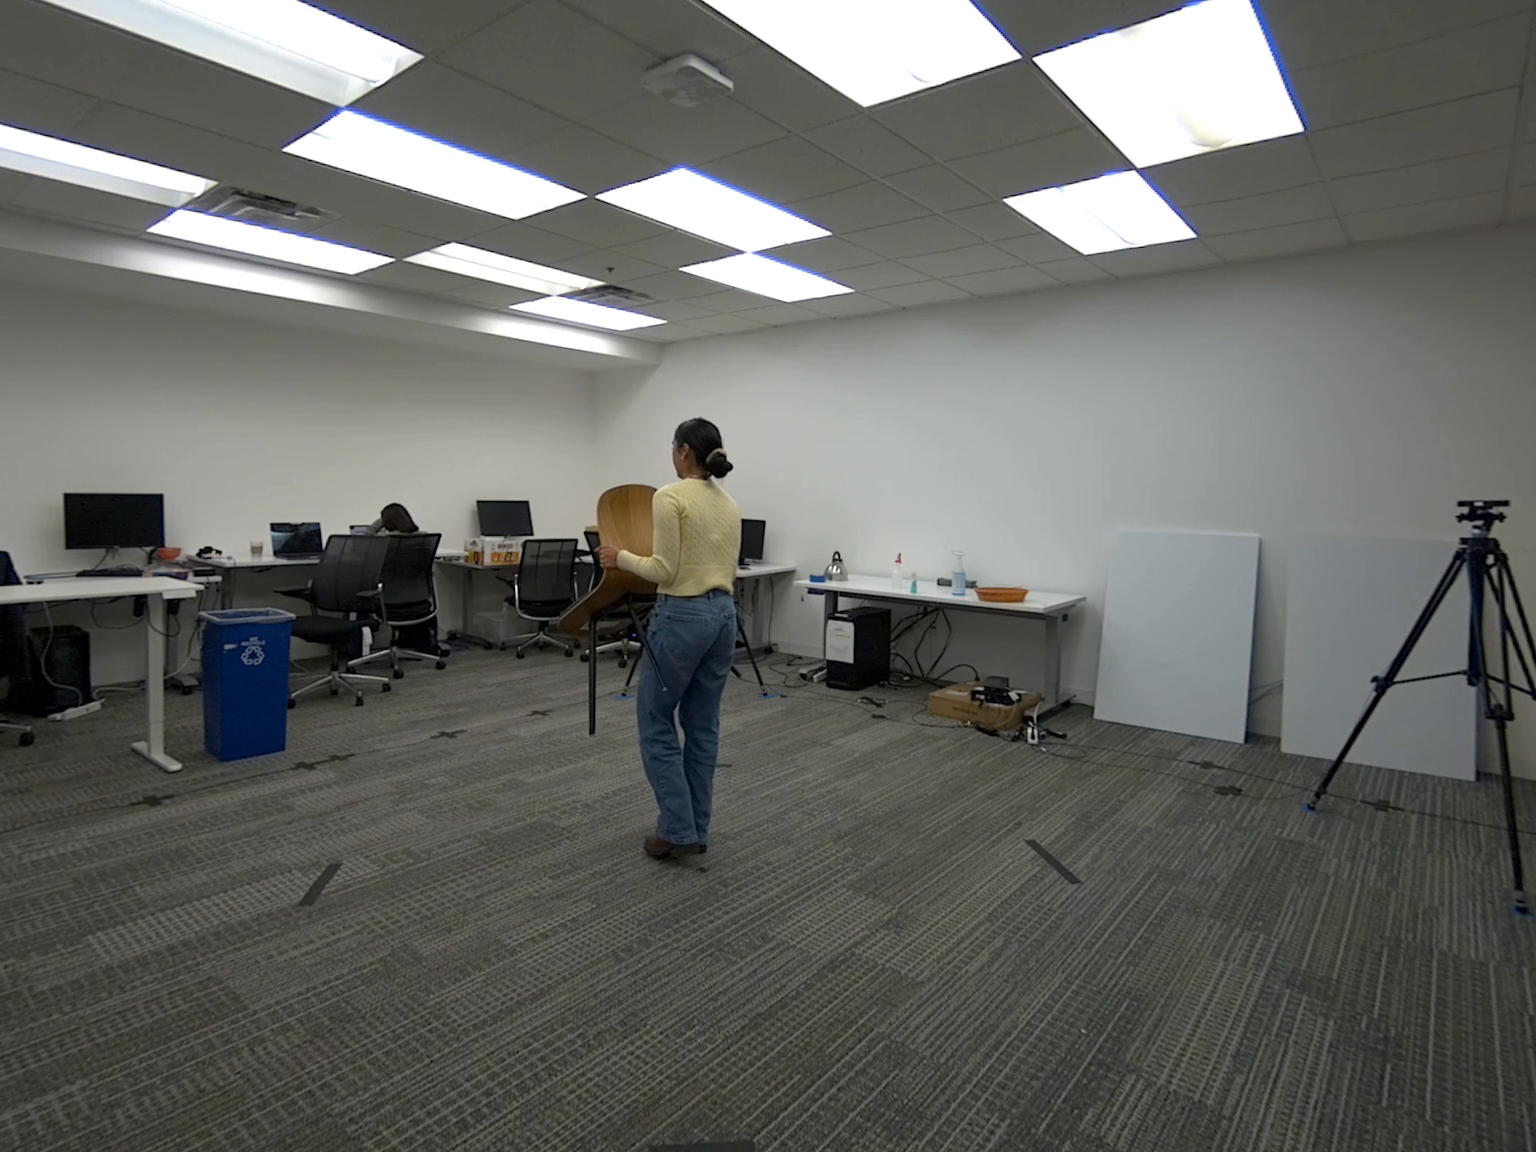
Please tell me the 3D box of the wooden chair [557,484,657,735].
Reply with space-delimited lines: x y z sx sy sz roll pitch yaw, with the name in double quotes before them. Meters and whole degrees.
"wooden chair" -0.582 0.133 3.455 0.529 0.895 0.463 -31 -19 34
